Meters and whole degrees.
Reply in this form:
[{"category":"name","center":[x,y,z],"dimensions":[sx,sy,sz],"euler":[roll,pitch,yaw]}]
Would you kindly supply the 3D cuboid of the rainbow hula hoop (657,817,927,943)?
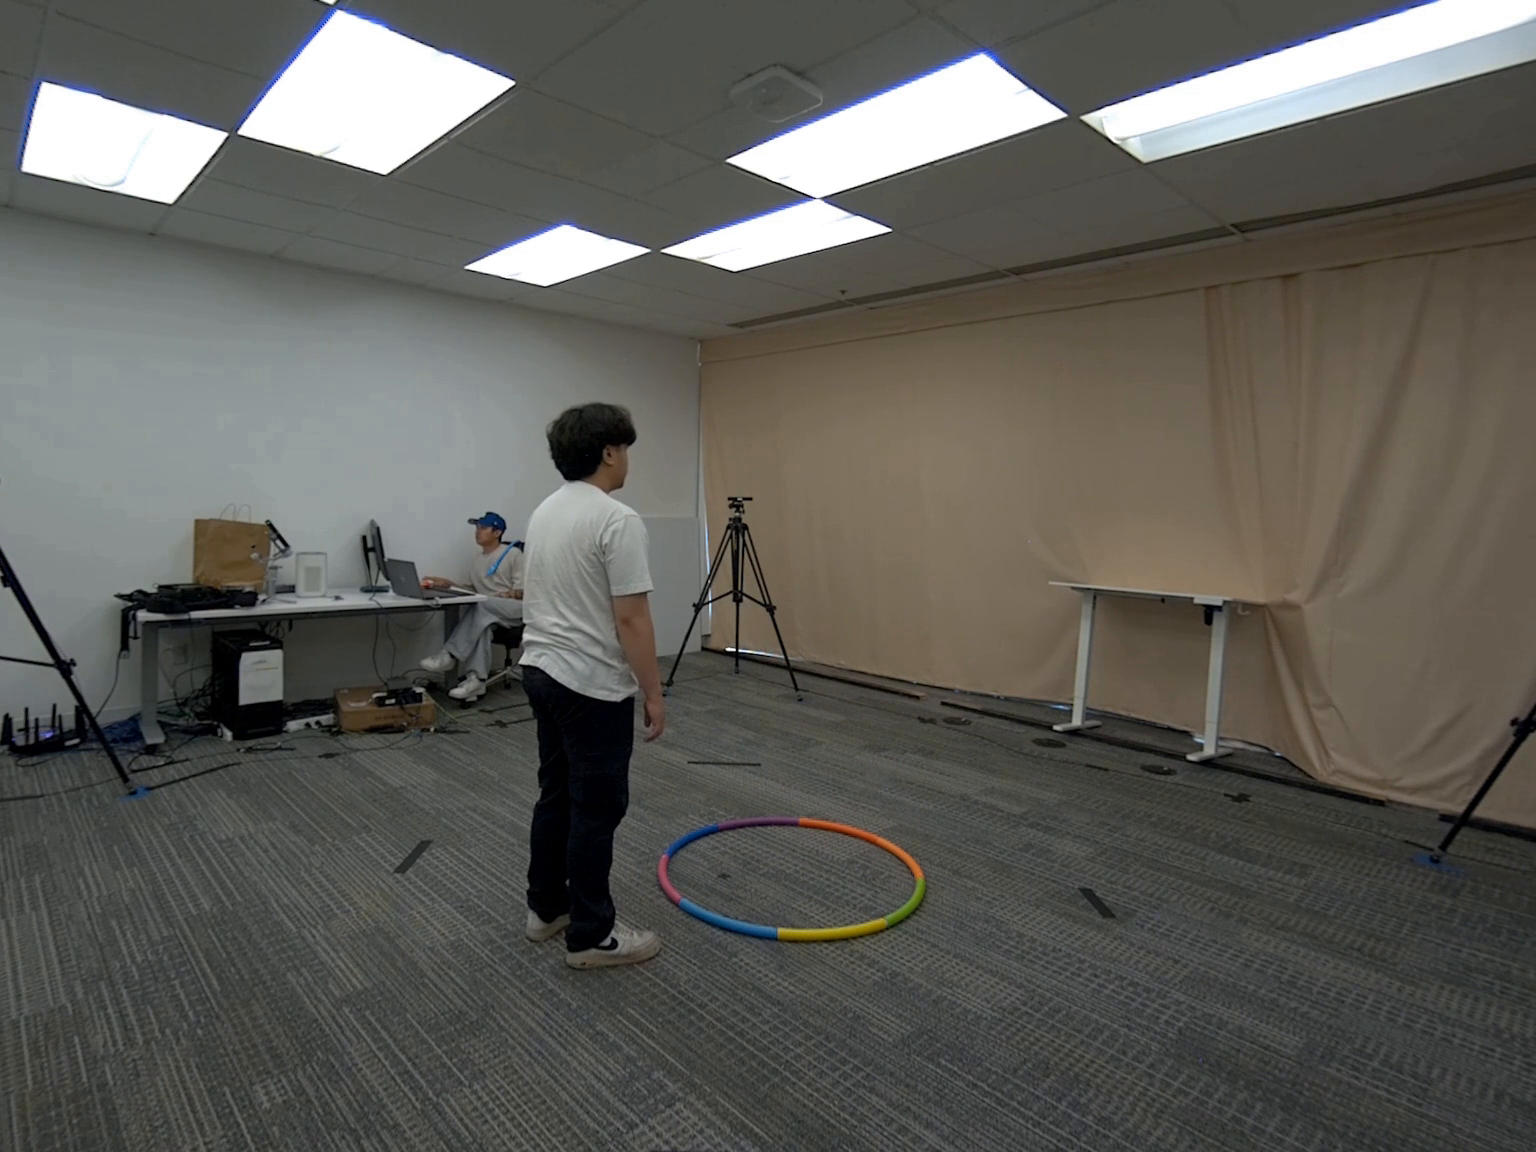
[{"category":"rainbow hula hoop","center":[0.078,1.084,3.135],"dimensions":[0.985,0.051,0.989],"euler":[1,5,-1]}]
